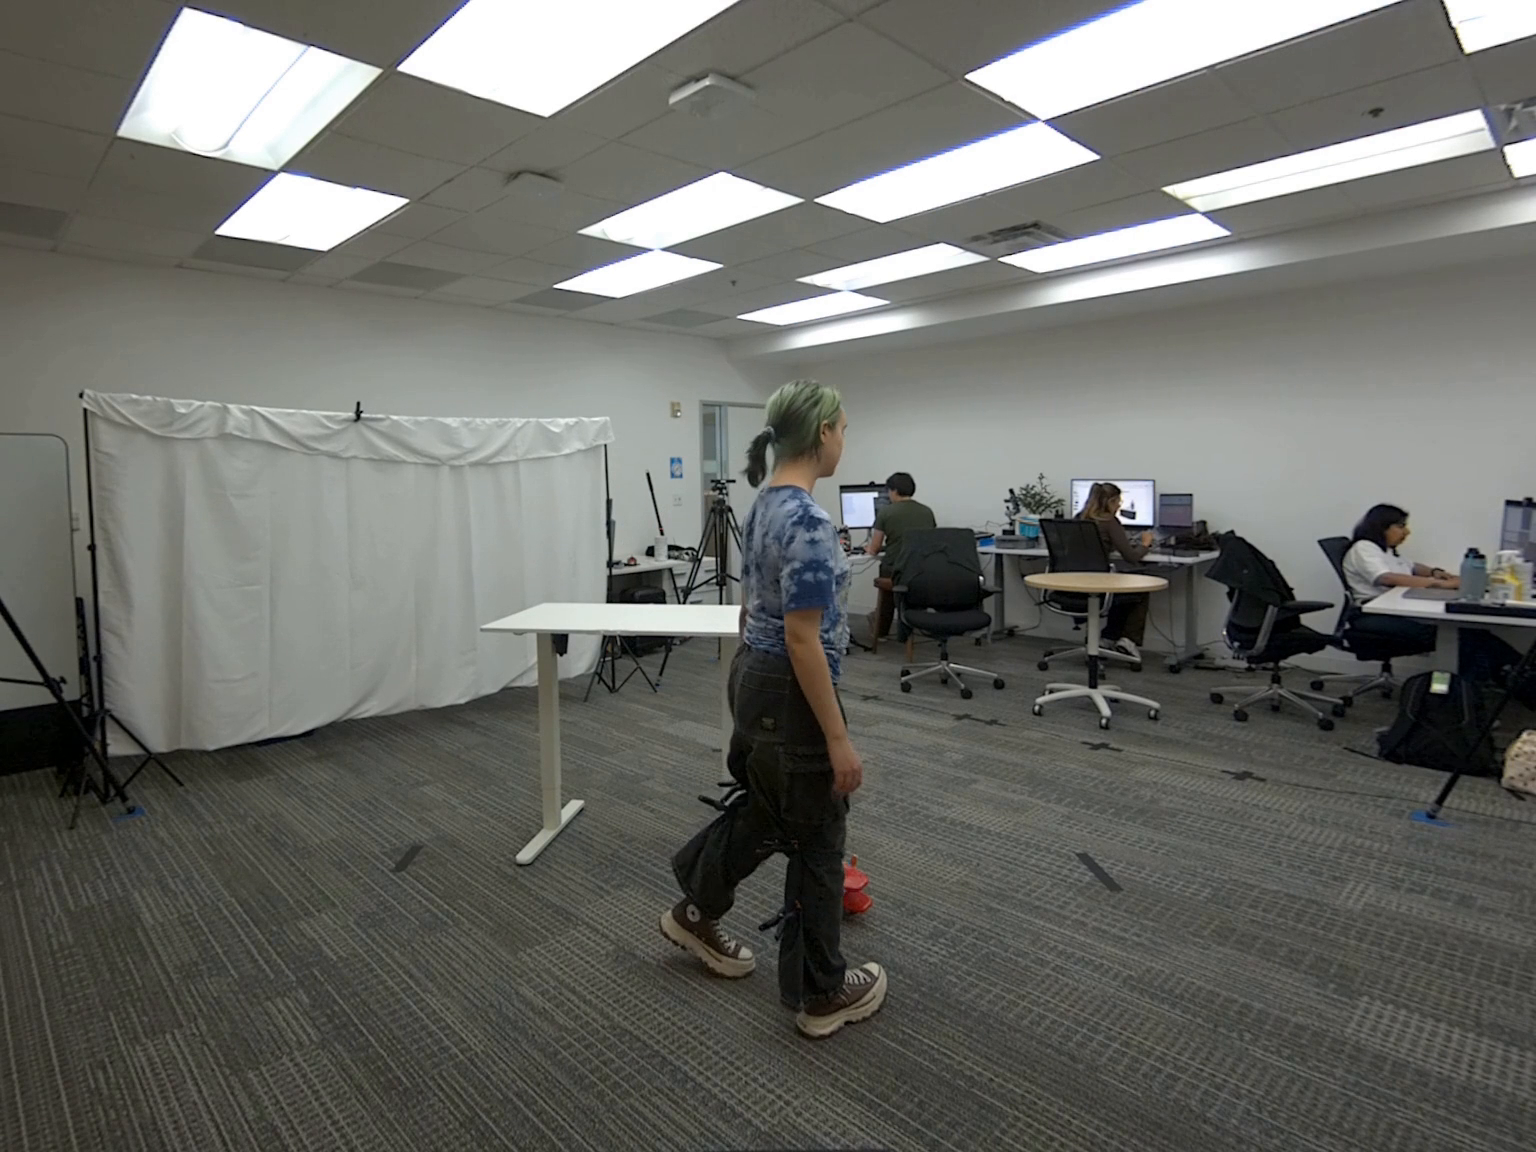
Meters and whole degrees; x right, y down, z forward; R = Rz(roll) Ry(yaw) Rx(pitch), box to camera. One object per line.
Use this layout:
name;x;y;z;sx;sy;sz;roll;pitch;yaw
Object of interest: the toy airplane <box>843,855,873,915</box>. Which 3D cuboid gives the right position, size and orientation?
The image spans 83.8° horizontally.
toy airplane;0.210;1.014;2.707;0.255;0.156;0.255;1;4;18
